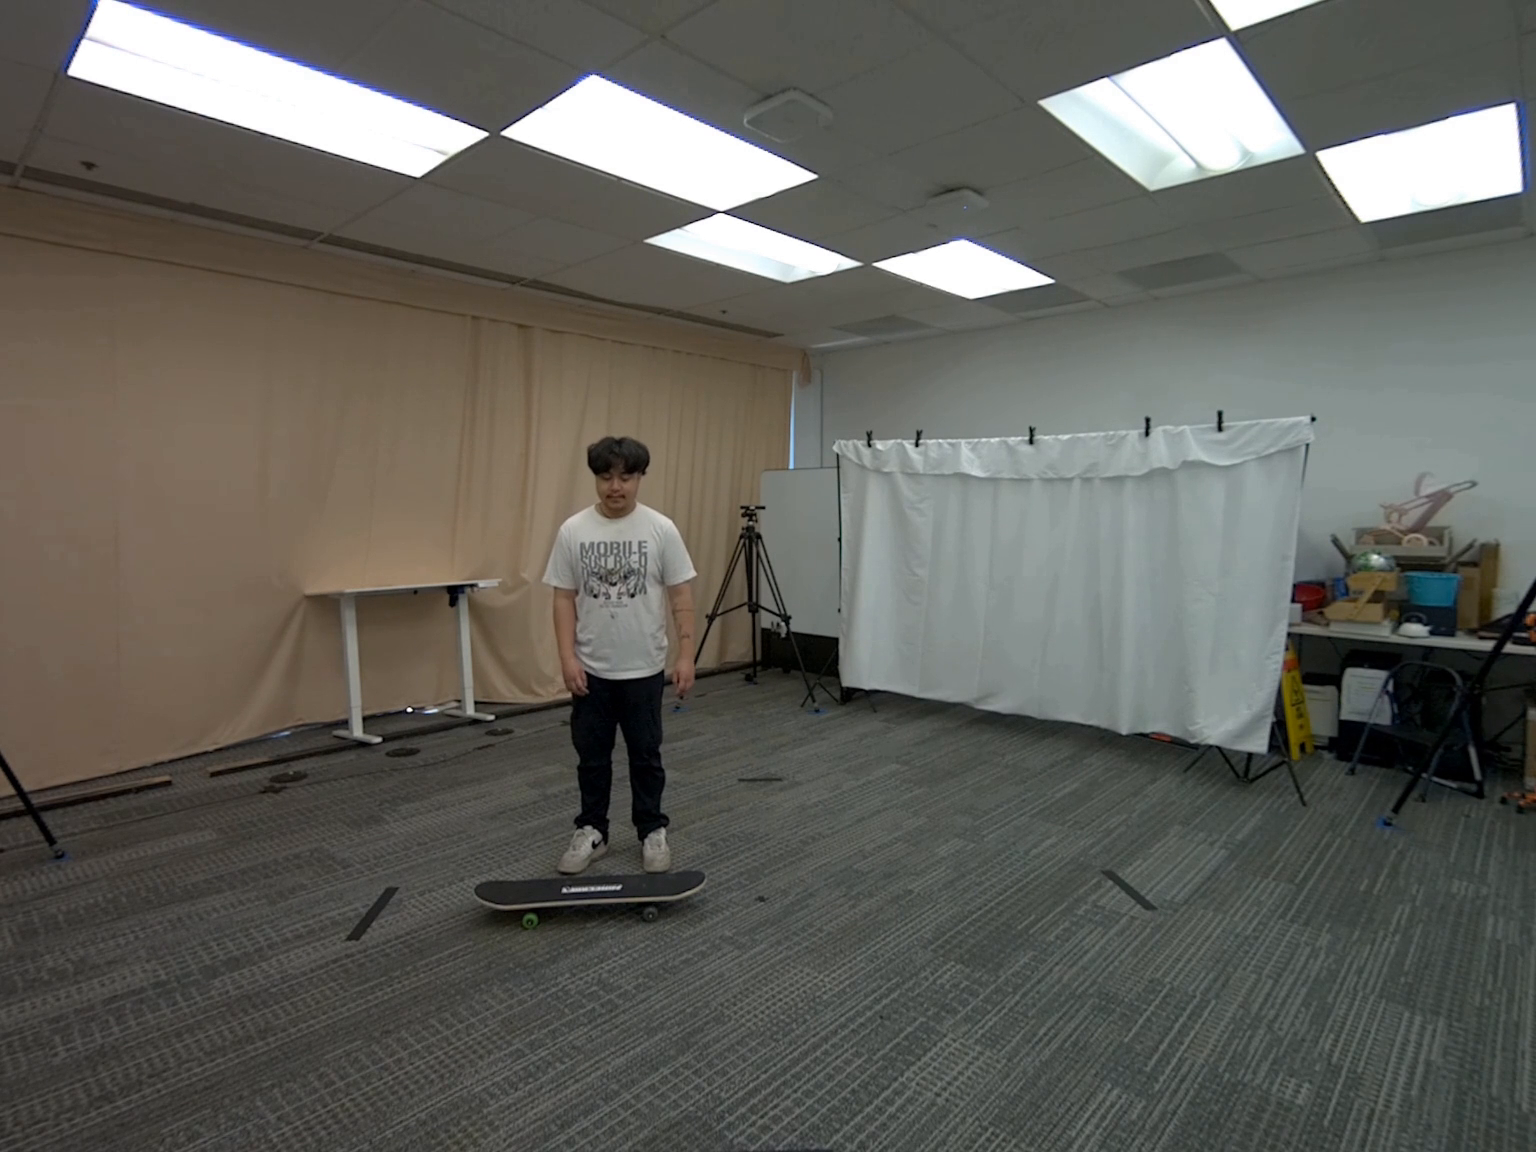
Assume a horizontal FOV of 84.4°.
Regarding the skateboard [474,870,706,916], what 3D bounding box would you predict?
[{"bbox_3d":[-0.600,1.099,2.881,0.780,0.110,0.195,-1,5,-6],"label":"skateboard"}]
